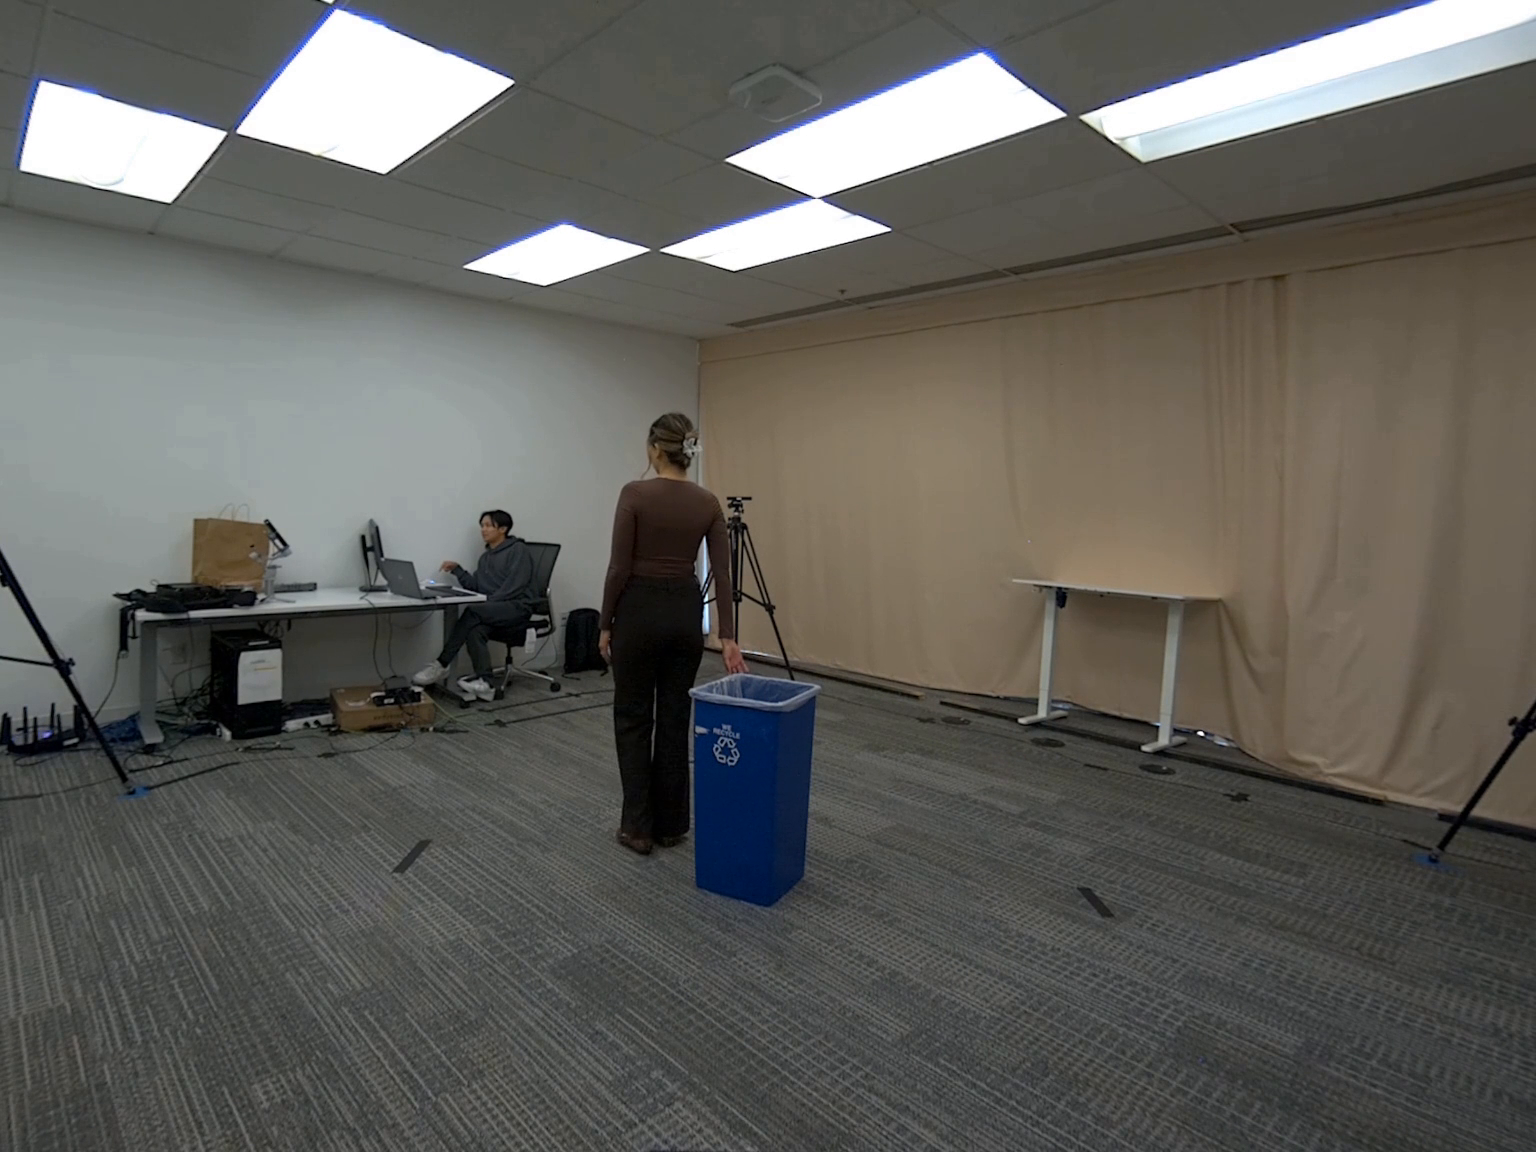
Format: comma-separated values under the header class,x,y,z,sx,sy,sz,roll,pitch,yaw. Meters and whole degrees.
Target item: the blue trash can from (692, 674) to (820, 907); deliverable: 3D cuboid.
class,x,y,z,sx,sy,sz,roll,pitch,yaw
blue trash can,-0.061,0.755,3.047,0.386,0.711,0.367,3,5,27
